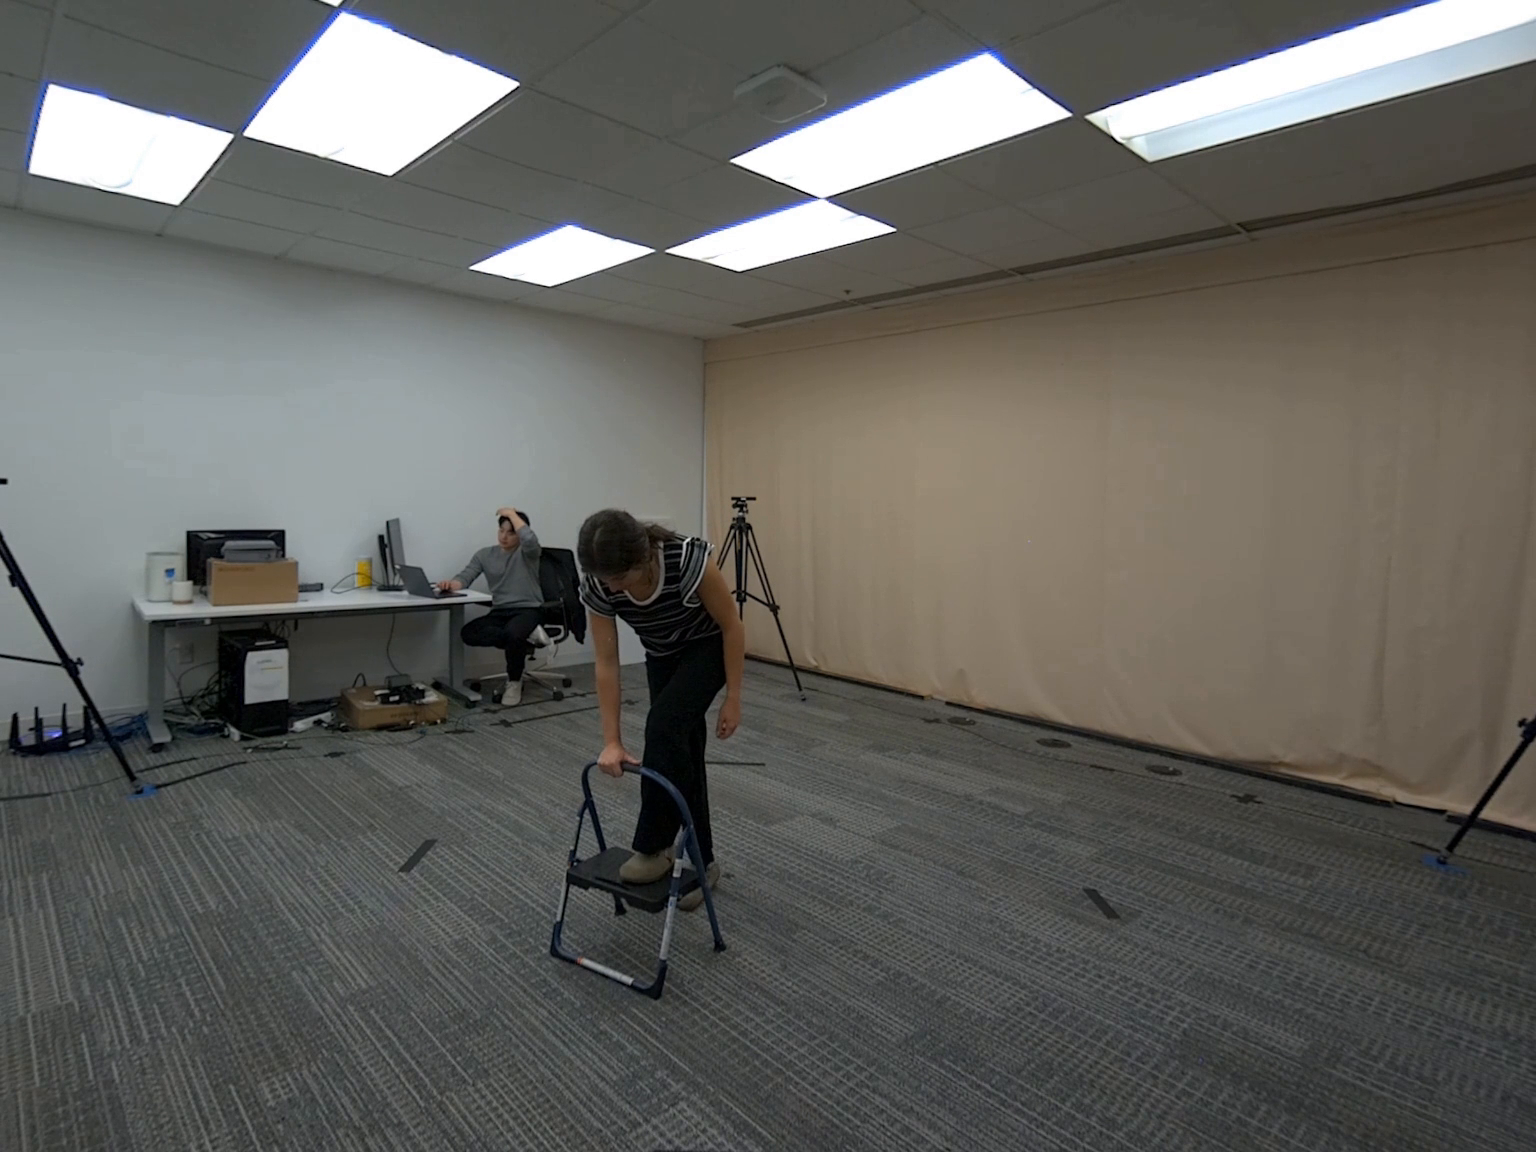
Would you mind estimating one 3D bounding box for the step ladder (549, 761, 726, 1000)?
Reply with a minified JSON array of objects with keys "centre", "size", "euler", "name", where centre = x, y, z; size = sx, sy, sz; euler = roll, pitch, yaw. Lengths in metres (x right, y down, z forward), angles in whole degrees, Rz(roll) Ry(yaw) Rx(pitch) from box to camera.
[{"centre":[-0.400,0.851,2.561],"size":[0.440,0.605,0.342],"euler":[3,3,31],"name":"step ladder"}]
